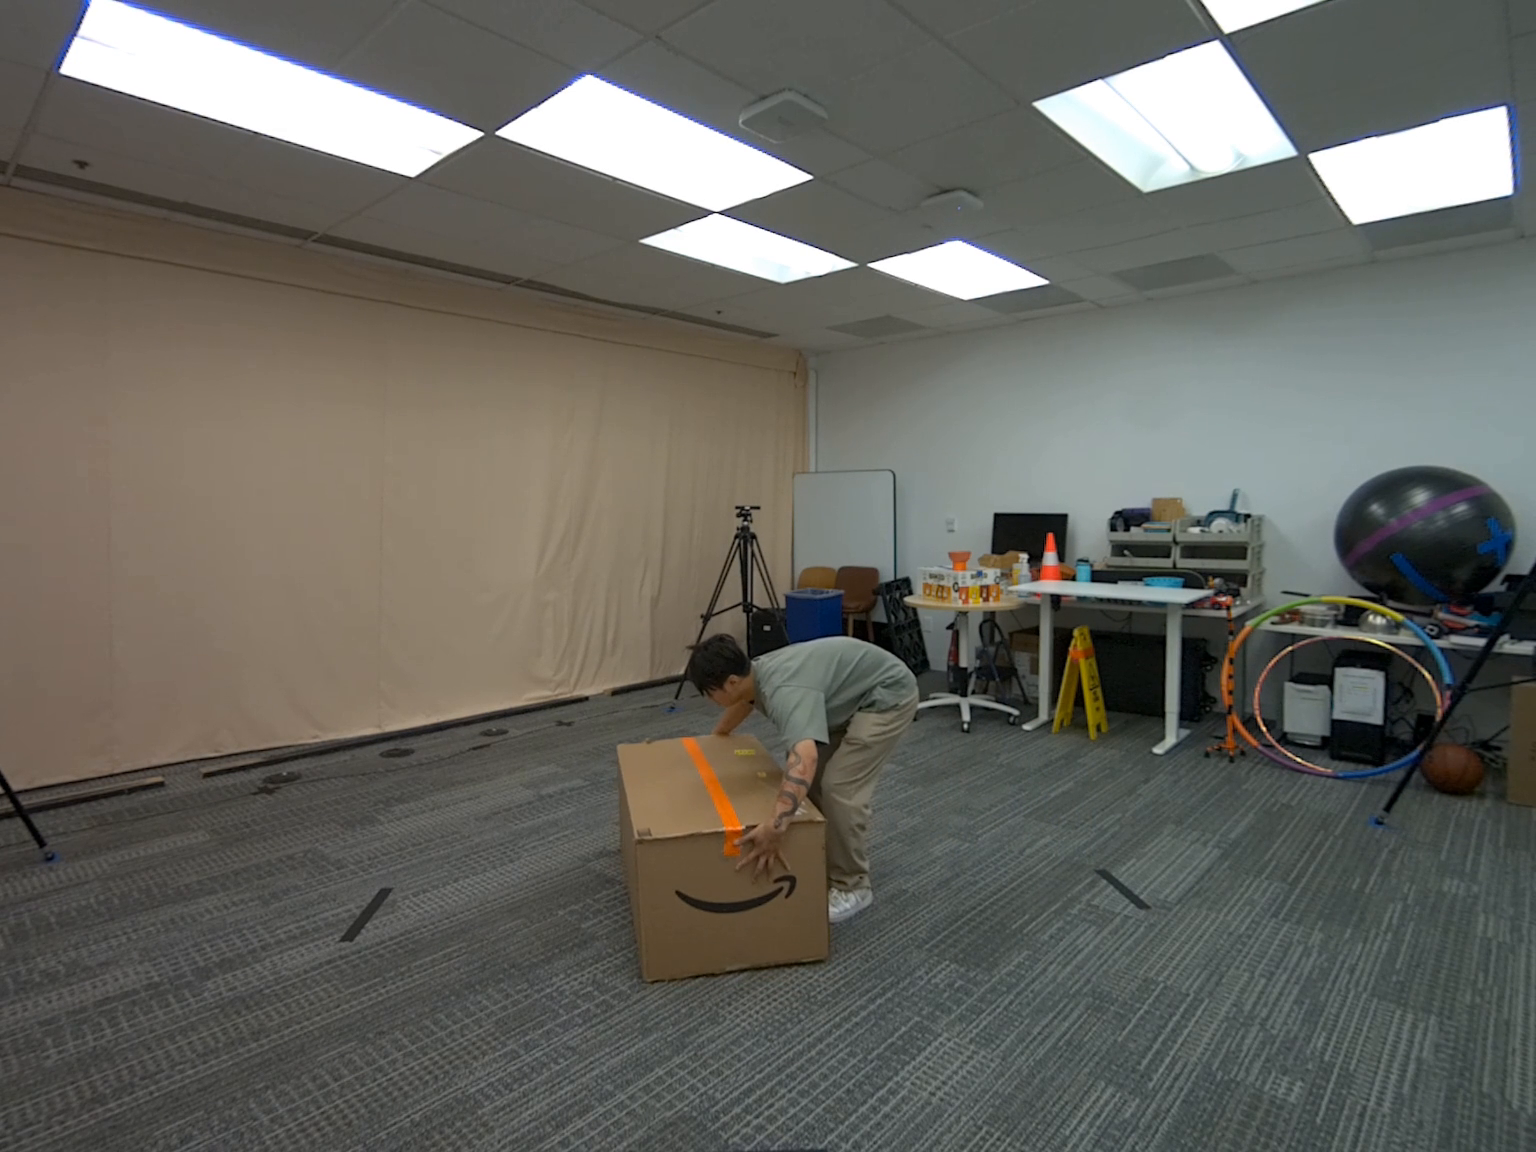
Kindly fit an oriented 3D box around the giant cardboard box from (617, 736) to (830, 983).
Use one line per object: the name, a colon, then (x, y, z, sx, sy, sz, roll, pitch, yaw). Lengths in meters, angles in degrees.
giant cardboard box: (-0.216, 0.914, 2.991, 0.570, 0.425, 1.041, -1, 4, -13)
